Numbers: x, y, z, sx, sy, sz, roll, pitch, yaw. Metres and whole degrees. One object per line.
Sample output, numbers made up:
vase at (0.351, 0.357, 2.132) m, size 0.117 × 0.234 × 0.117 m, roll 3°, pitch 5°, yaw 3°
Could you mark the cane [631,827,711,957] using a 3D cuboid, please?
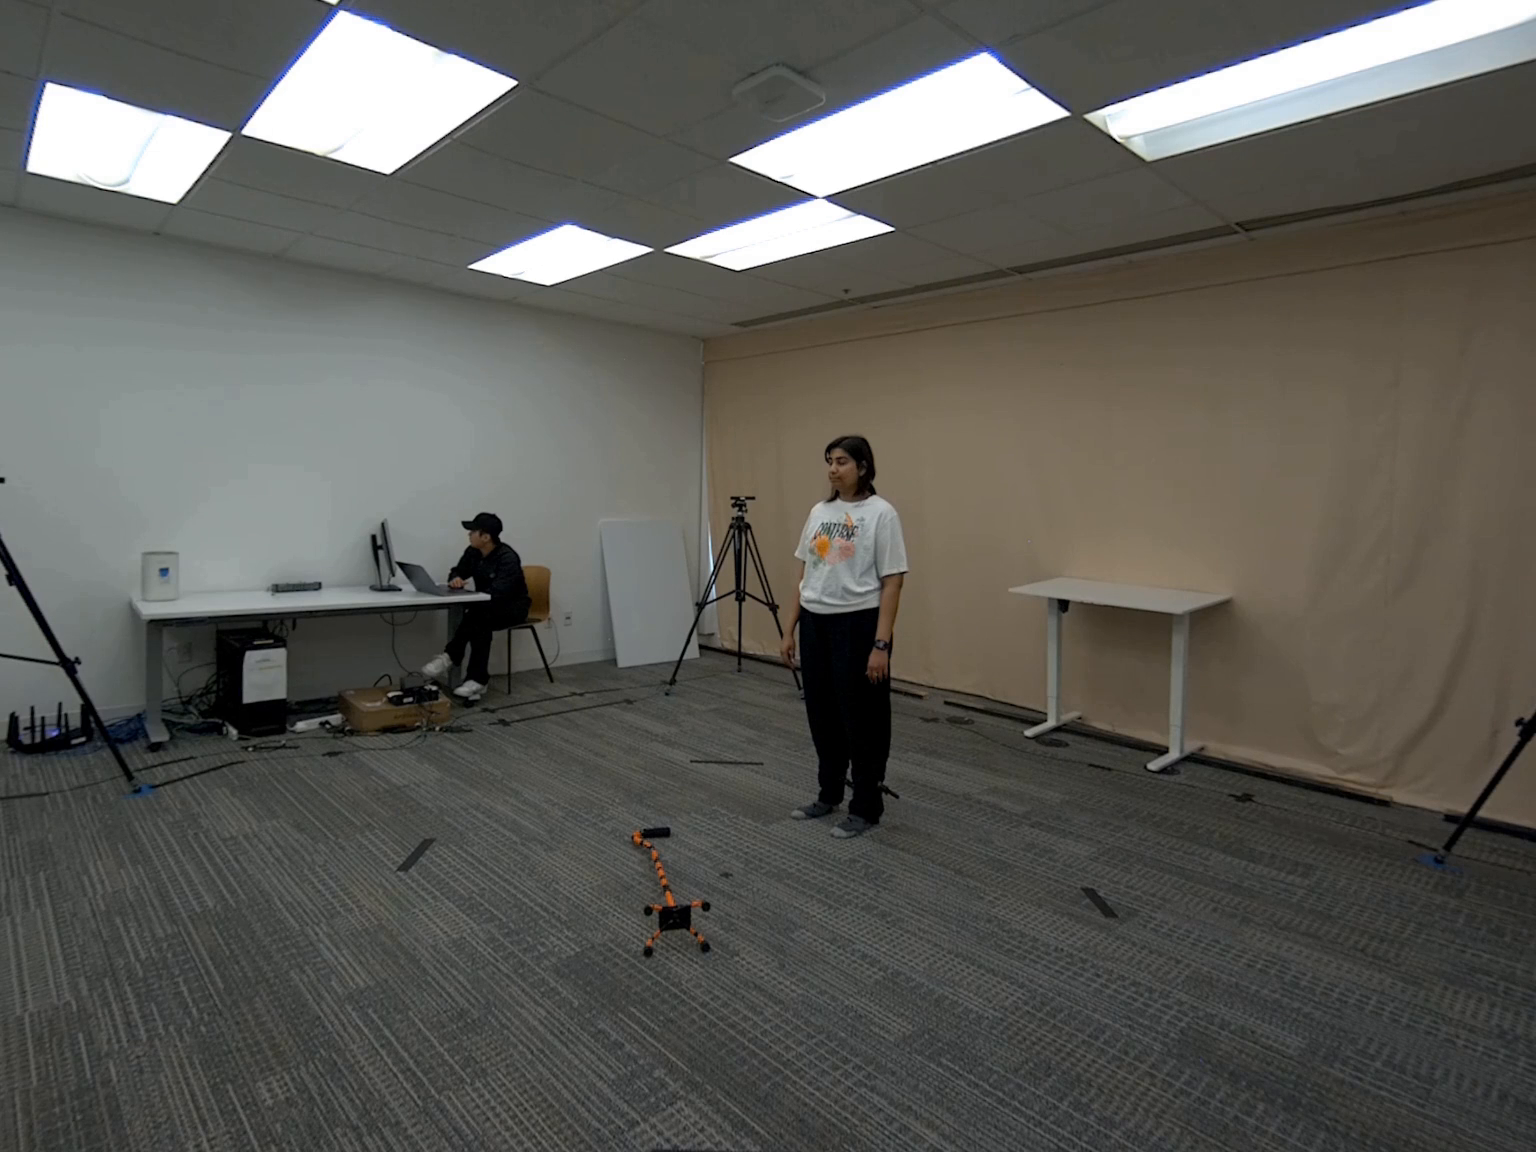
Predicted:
cane at (-0.389, 1.062, 3.000) m, size 0.204 × 0.151 × 0.916 m, roll -1°, pitch 1°, yaw -13°
